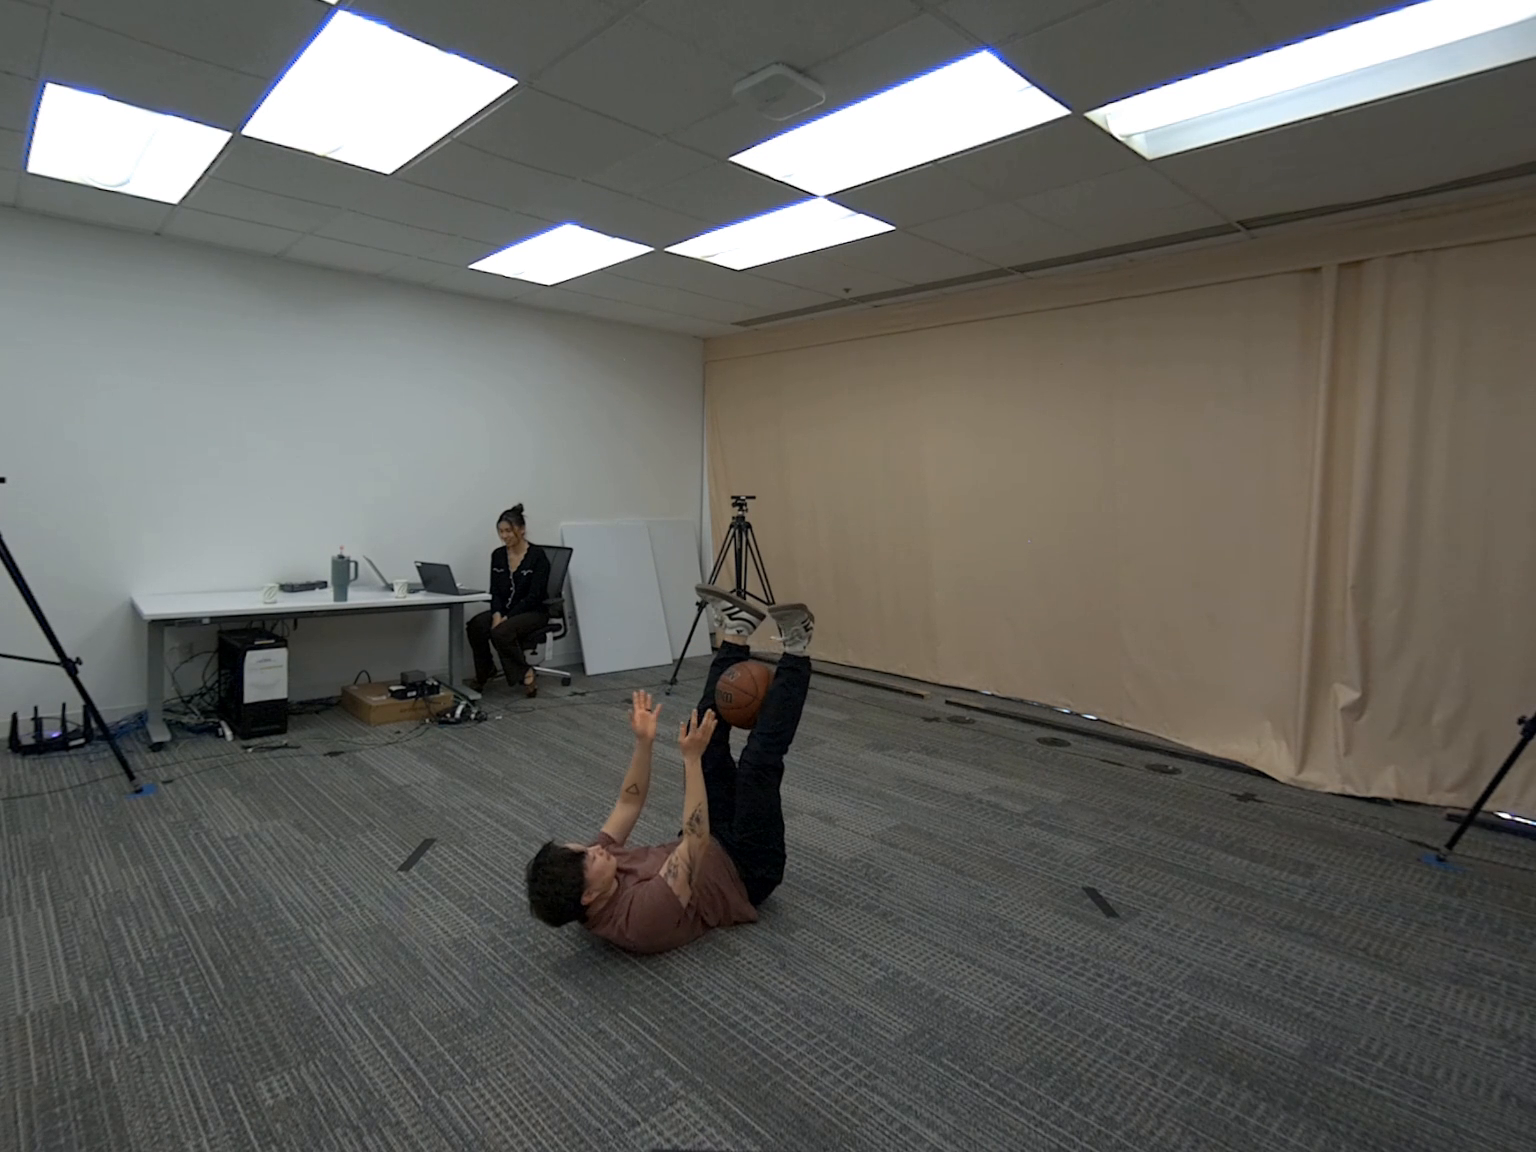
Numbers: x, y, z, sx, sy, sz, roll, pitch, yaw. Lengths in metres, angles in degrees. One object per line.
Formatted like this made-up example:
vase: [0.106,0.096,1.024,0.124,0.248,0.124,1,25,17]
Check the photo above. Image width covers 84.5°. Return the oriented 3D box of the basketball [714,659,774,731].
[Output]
basketball: [-0.070,0.422,2.943,0.236,0.235,0.237,2,4,-2]
